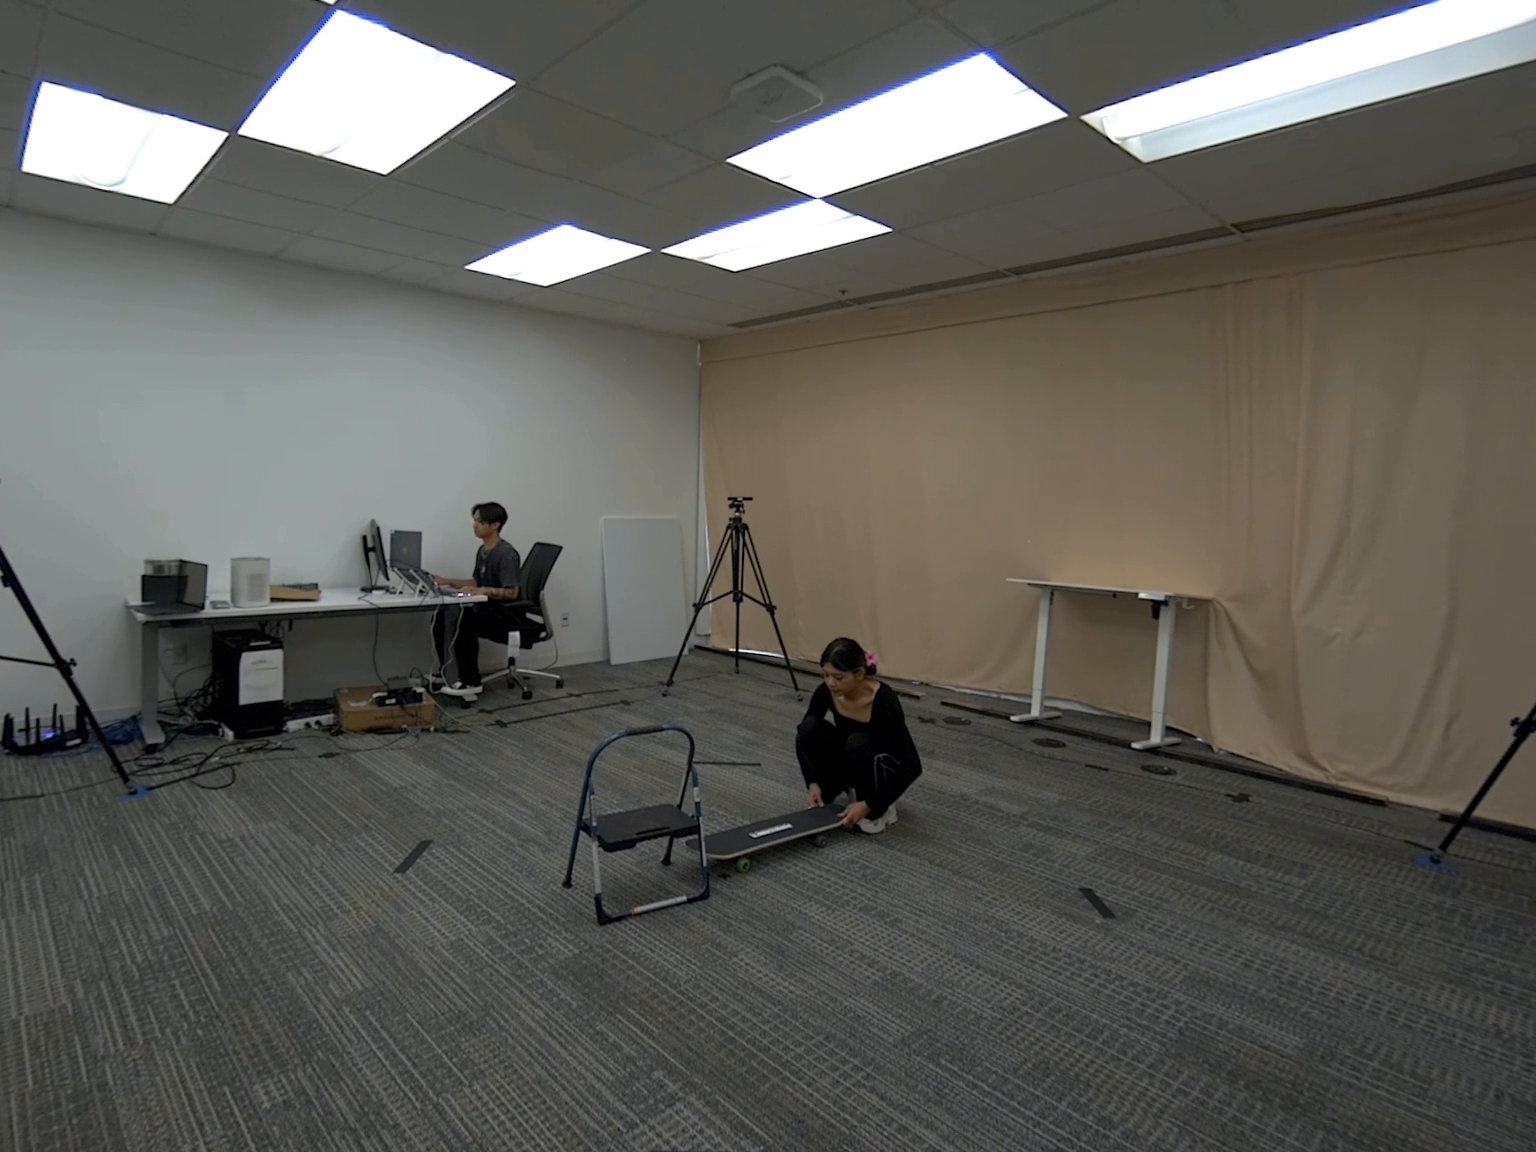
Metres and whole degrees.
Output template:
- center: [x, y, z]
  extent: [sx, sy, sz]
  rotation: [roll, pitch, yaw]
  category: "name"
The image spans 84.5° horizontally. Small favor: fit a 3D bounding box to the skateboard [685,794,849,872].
- center: [0.005, 1.039, 3.322]
  extent: [0.768, 0.110, 0.198]
  rotation: [-2, 6, -38]
  category: "skateboard"
